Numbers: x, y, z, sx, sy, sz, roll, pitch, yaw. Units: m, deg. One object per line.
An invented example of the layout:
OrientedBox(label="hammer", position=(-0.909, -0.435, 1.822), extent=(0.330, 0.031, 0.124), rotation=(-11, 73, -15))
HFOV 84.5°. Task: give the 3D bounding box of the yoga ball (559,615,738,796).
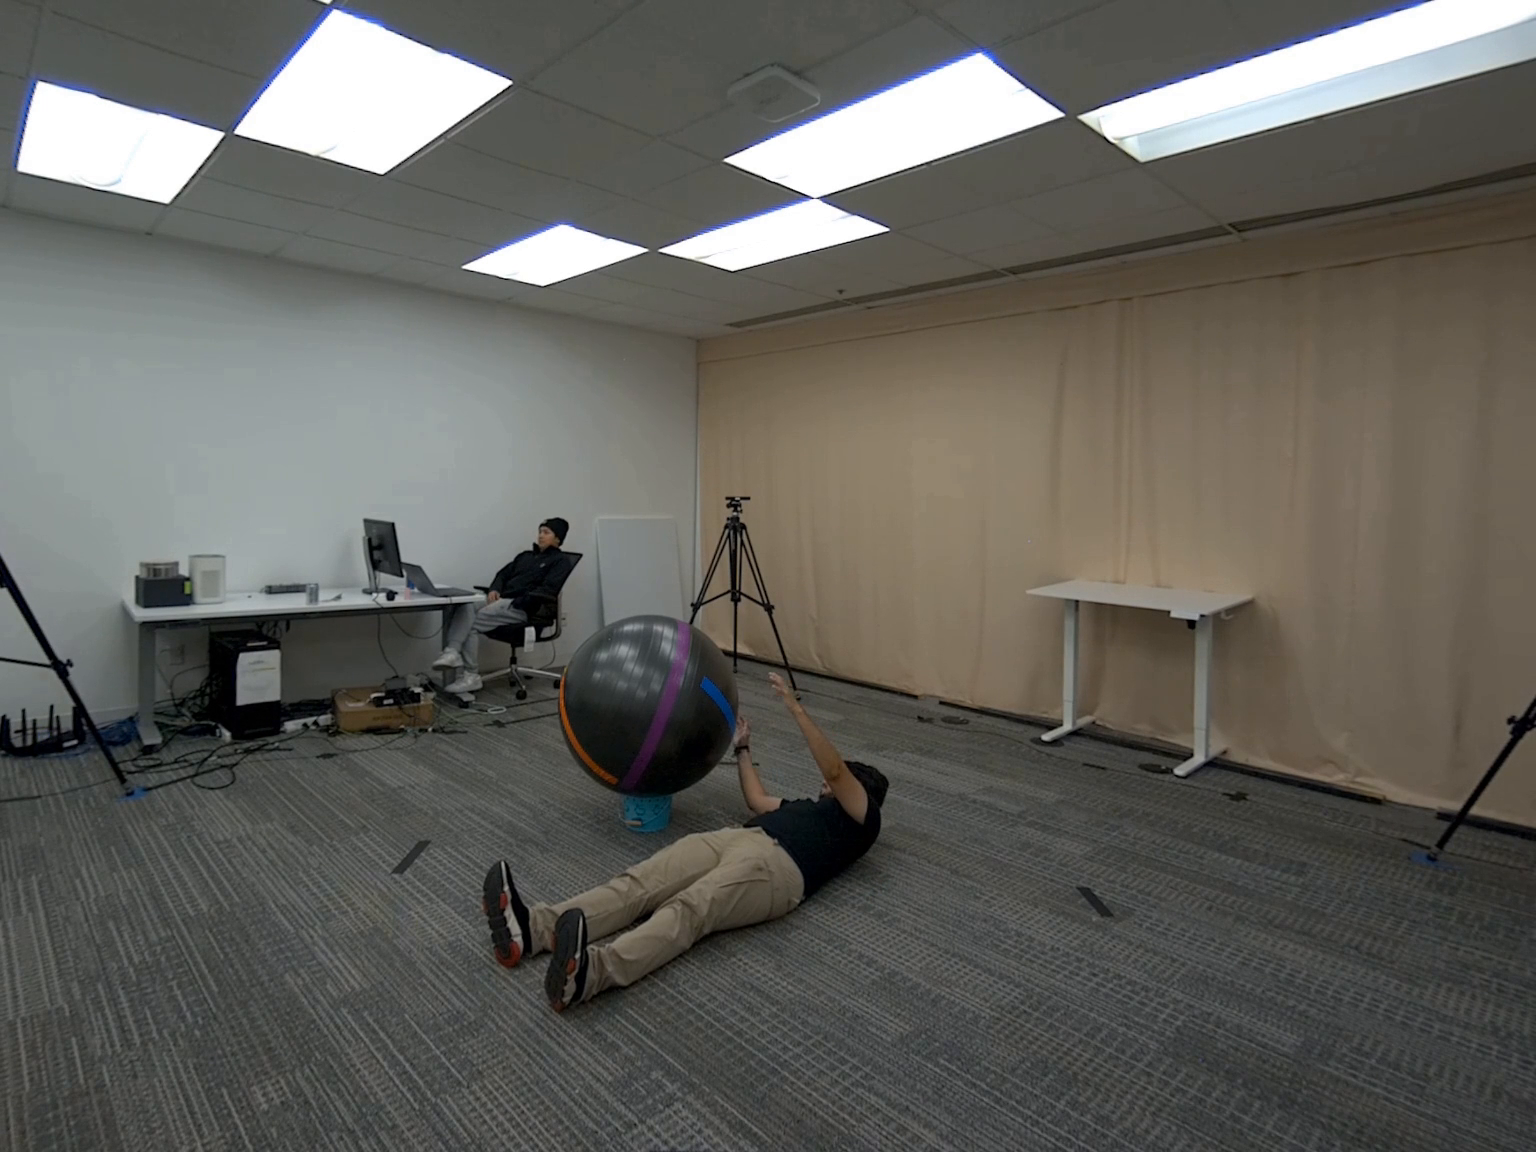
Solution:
OrientedBox(label="yoga ball", position=(-0.509, 0.546, 3.569), extent=(0.757, 0.755, 0.761), rotation=(1, 5, -1))
